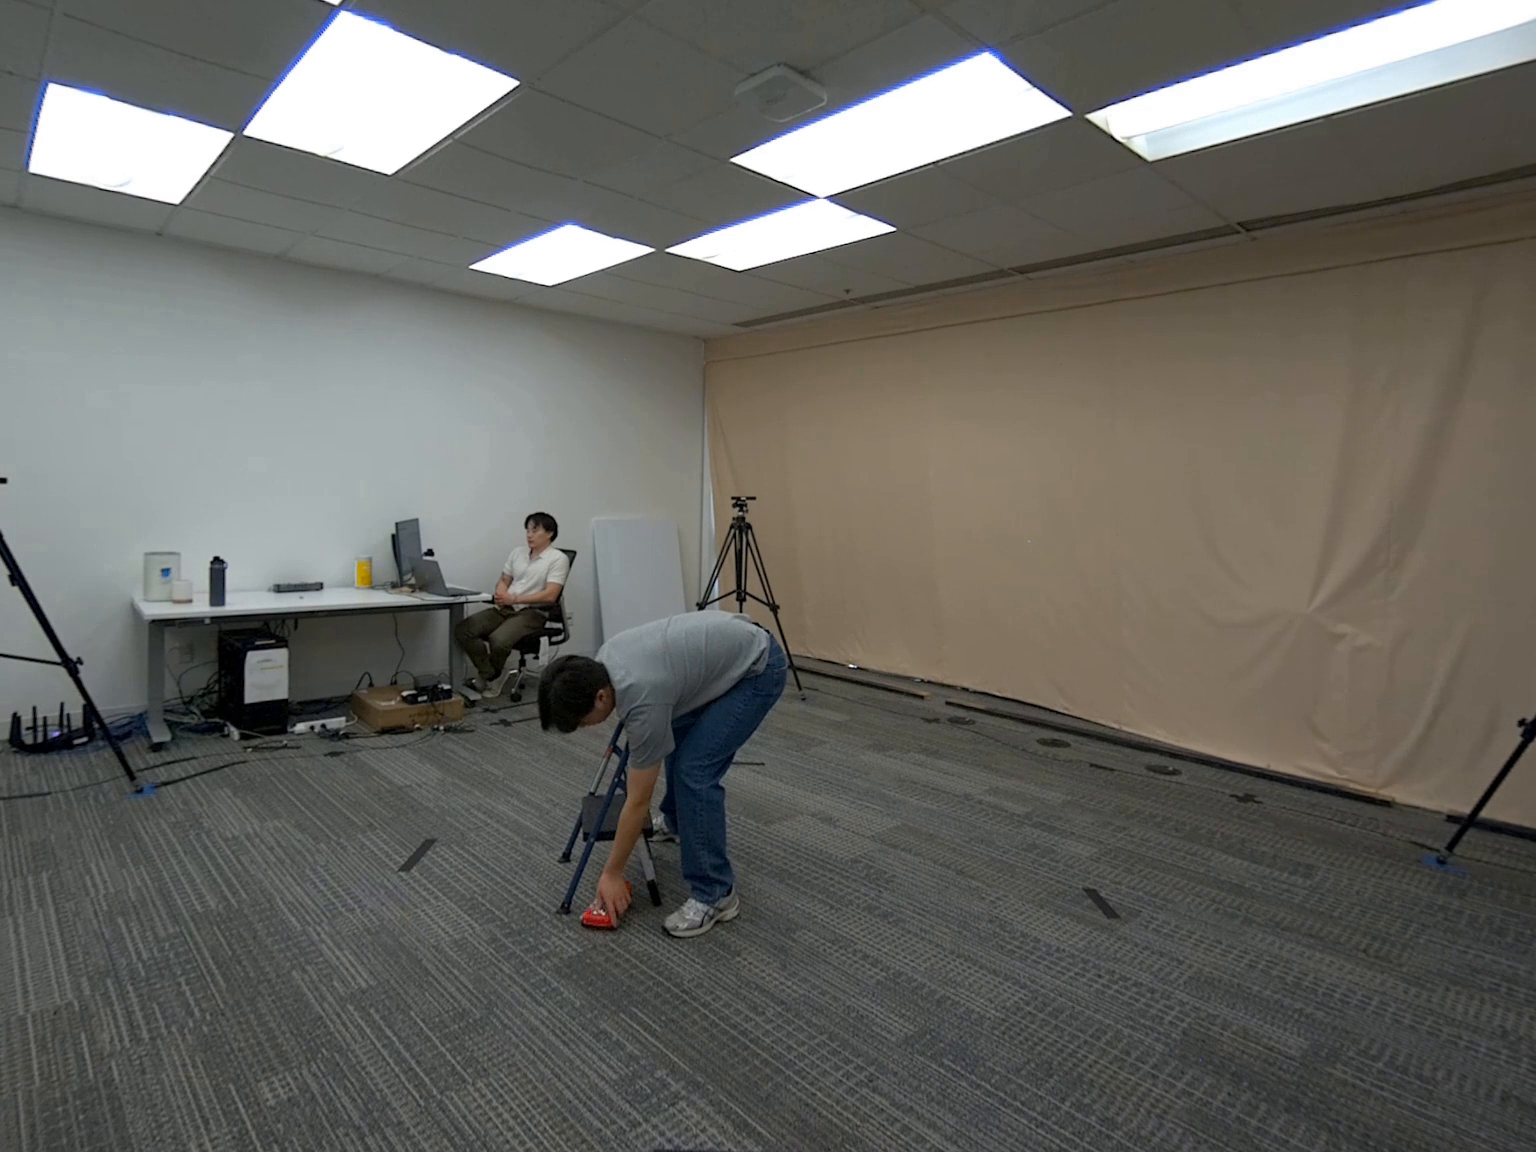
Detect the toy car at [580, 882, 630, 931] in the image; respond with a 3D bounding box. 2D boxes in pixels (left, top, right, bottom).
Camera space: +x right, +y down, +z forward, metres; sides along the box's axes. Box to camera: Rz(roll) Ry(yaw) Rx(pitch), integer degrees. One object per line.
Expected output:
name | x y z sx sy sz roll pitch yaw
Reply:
toy car | -0.532 1.103 2.780 0.131 0.082 0.255 4 15 6
